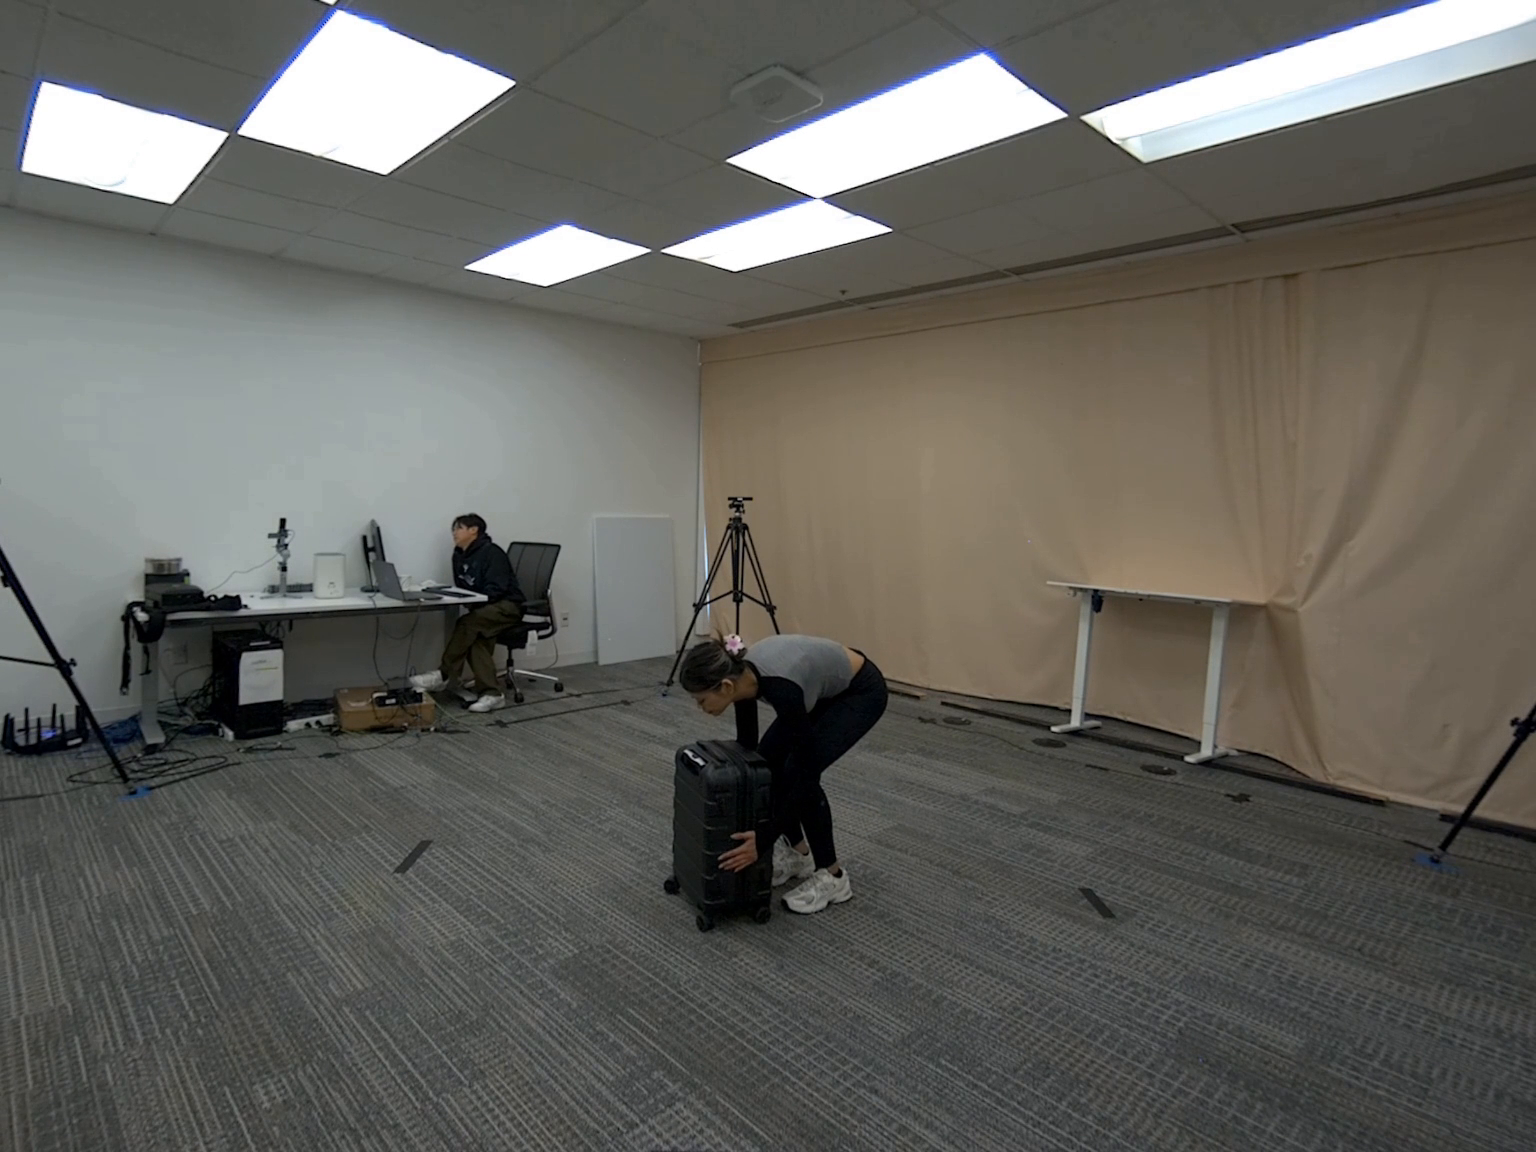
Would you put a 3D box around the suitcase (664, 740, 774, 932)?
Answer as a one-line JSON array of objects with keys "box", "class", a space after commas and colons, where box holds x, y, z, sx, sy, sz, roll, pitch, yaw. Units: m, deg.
[{"box": [-0.165, 0.852, 2.859, 0.244, 0.548, 0.383, 0, 4, -25], "class": "suitcase"}]
